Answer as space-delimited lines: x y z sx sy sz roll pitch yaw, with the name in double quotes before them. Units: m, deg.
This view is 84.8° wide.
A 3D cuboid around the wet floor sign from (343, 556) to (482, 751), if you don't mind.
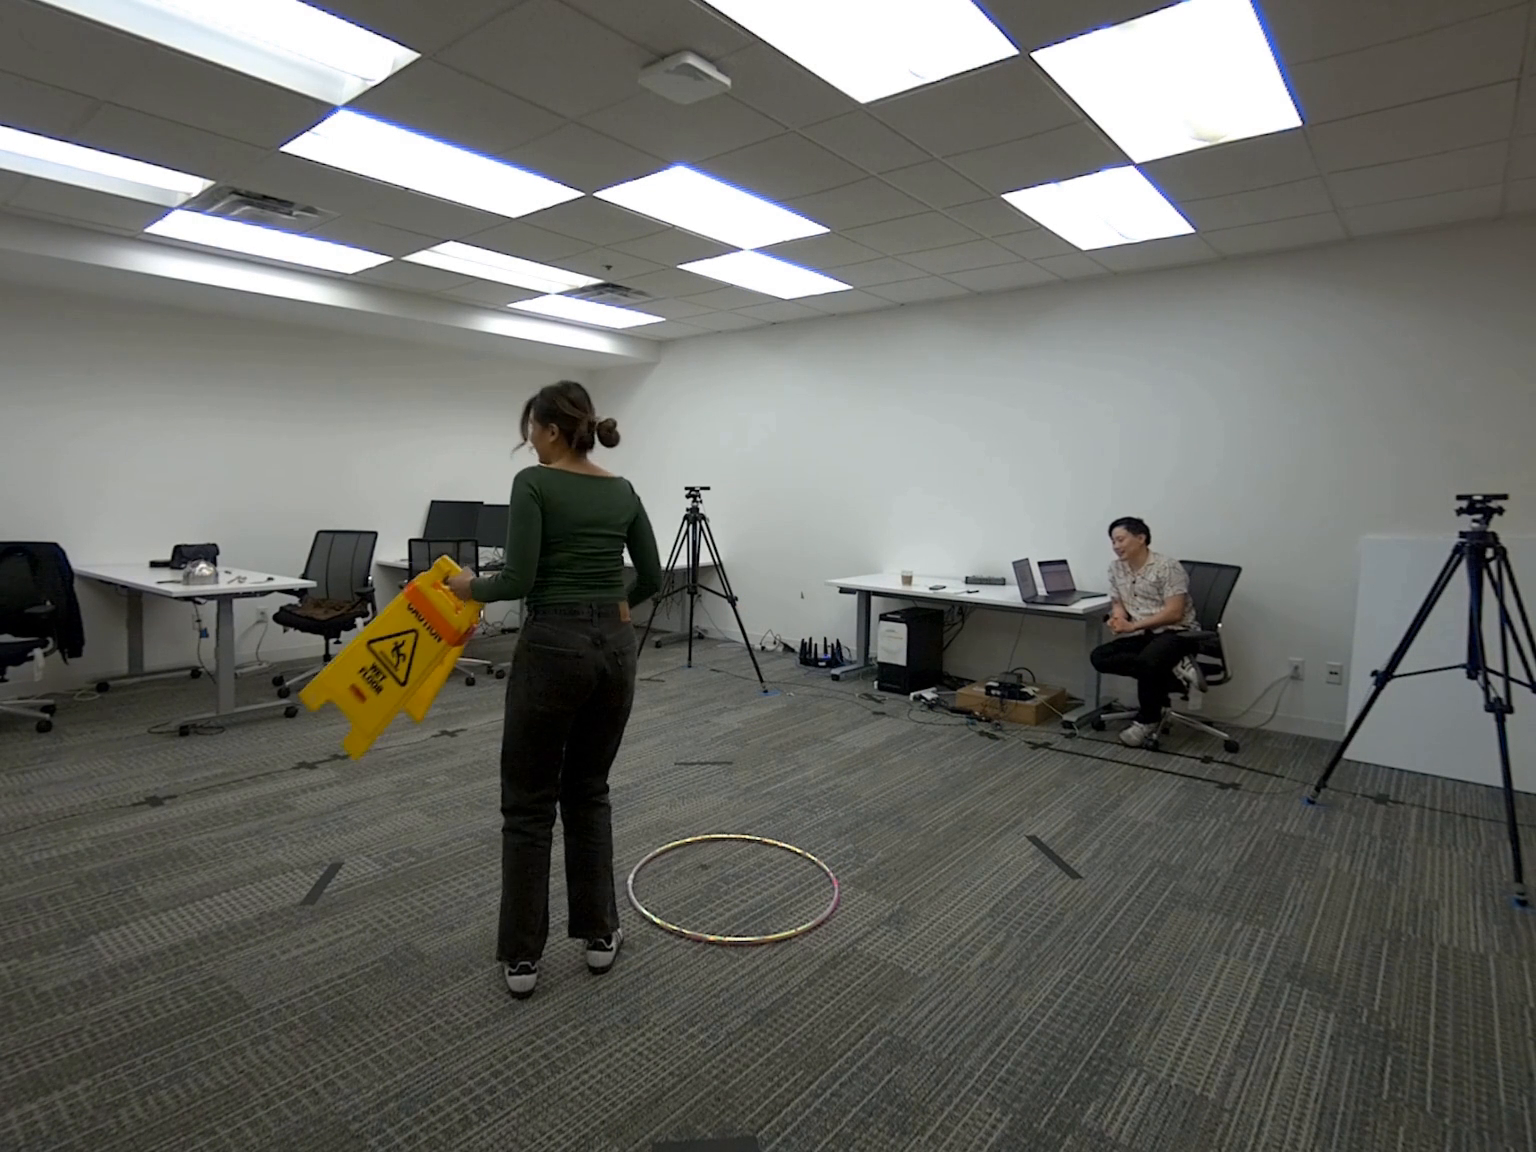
"wet floor sign" -1.045 0.196 2.680 0.645 0.283 0.289 -49 0 39
